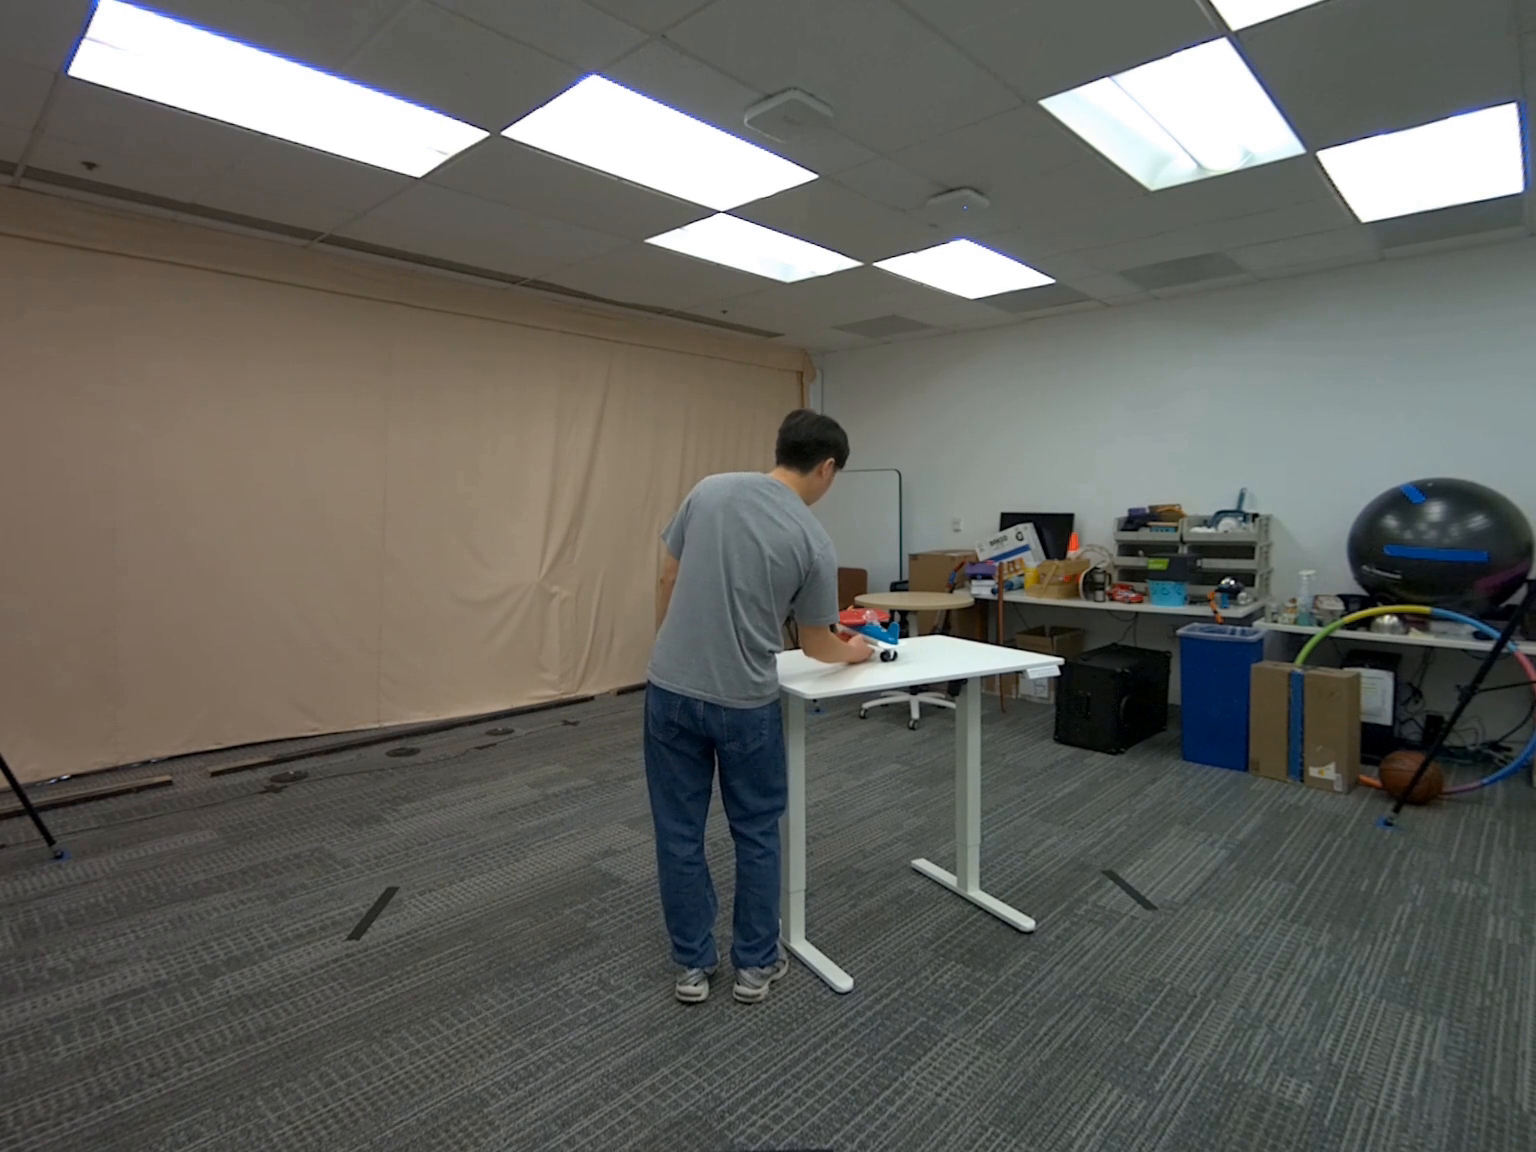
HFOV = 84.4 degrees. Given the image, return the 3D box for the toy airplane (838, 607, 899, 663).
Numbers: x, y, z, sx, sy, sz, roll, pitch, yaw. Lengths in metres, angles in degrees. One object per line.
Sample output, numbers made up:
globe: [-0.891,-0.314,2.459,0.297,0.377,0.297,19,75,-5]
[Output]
toy airplane: [0.348,0.194,2.827,0.265,0.156,0.246,-1,4,21]
